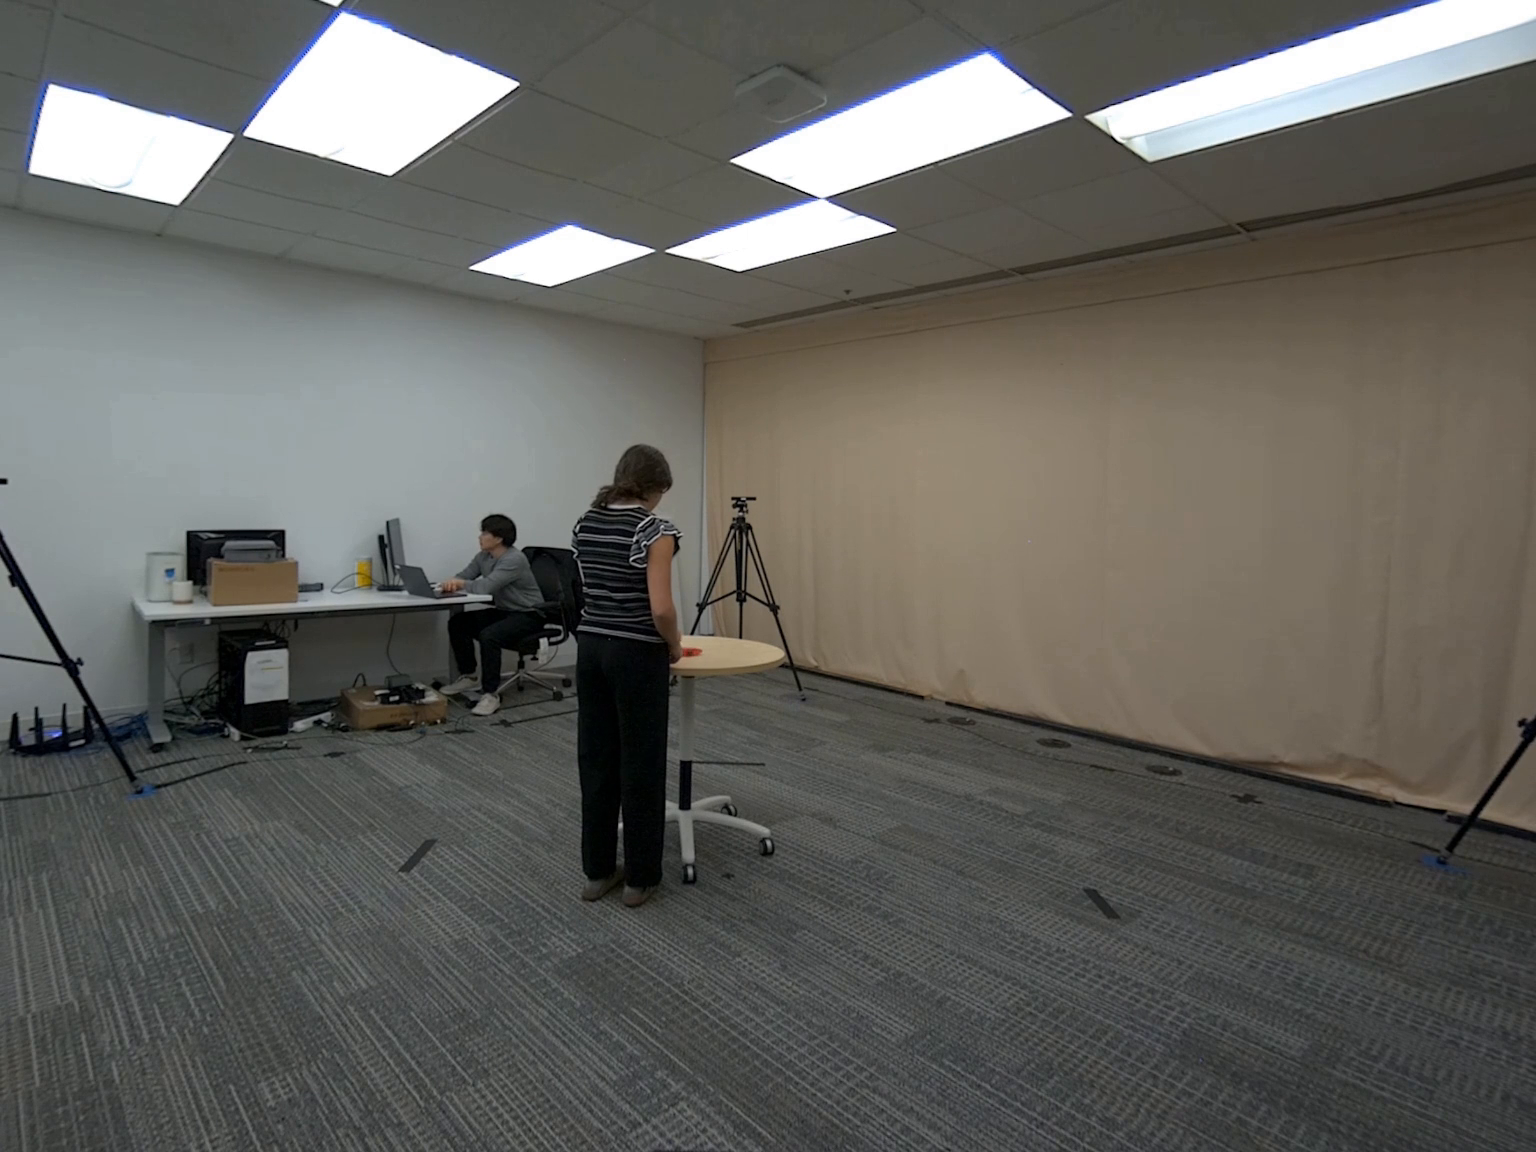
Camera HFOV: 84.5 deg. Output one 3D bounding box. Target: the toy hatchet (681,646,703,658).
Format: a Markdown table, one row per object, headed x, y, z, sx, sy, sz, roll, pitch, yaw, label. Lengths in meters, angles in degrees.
| x | y | z | sx | sy | sz | roll | pitch | yaw | label |
| --- | --- | --- | --- | --- | --- | --- | --- | --- | --- |
| -0.353 | 0.286 | 3.337 | 0.130 | 0.029 | 0.273 | 0 | 6 | -13 | toy hatchet |
